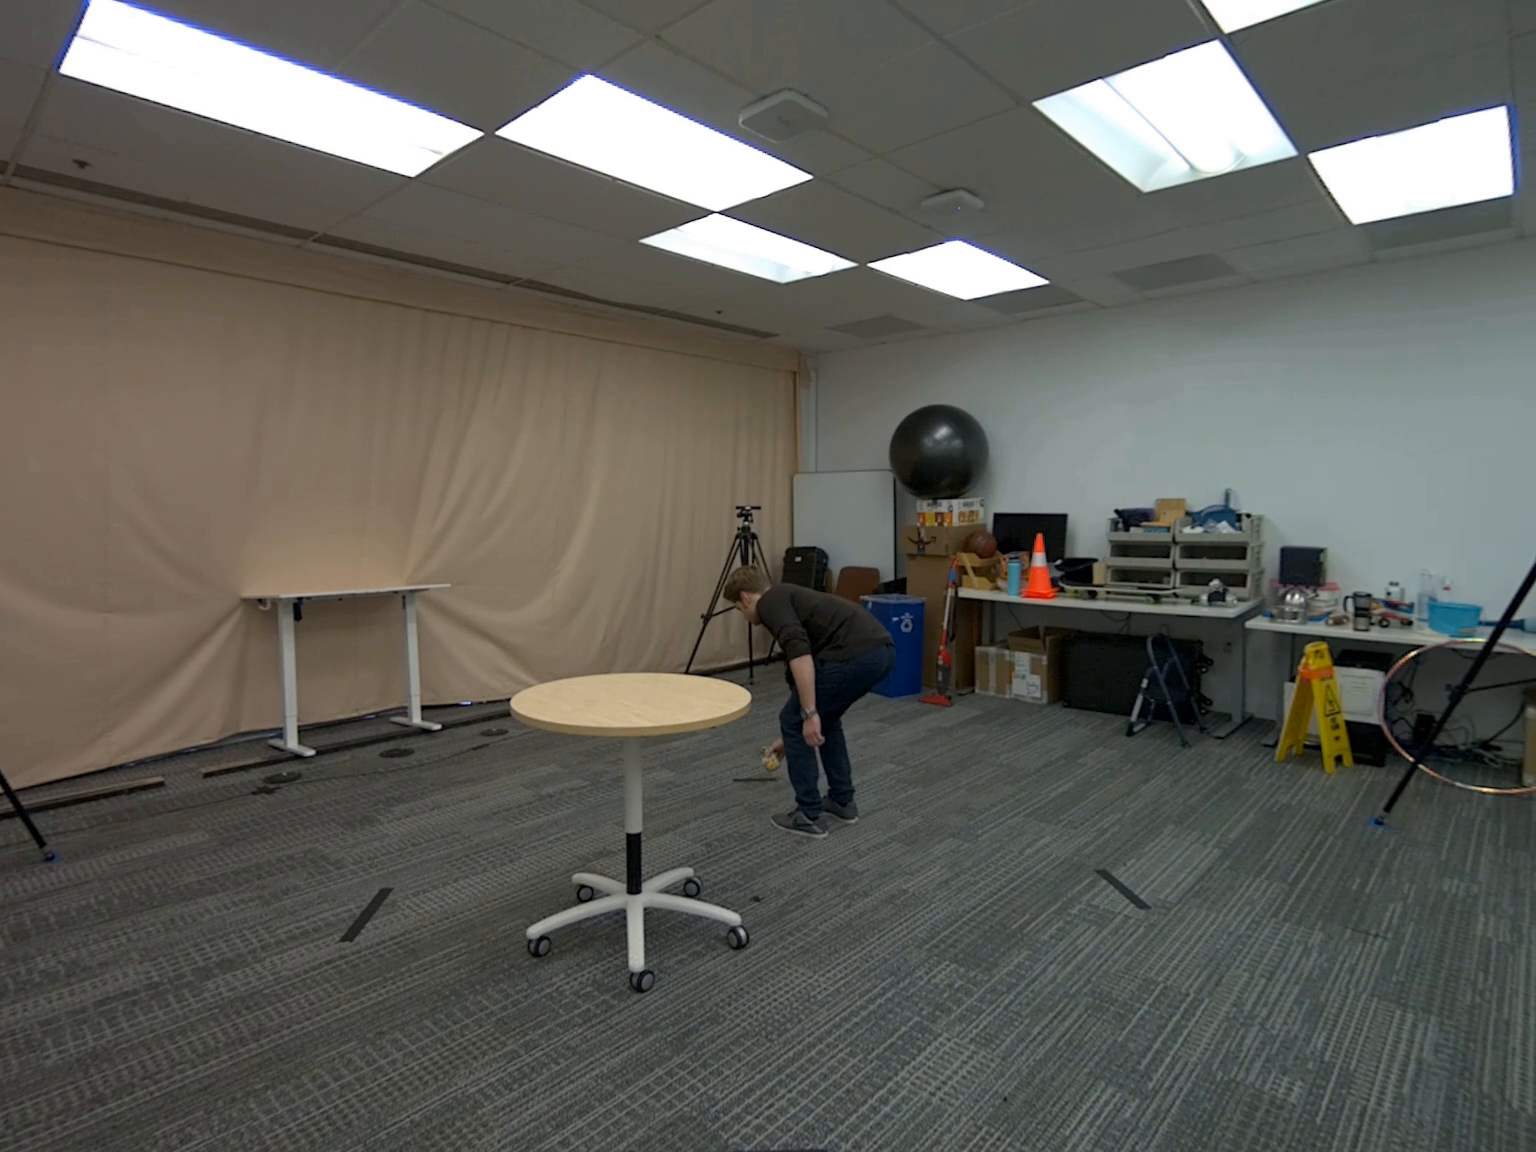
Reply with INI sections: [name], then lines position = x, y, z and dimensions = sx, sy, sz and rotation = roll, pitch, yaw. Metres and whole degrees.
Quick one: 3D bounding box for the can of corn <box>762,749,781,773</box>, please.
[can of corn]
position = 0.003, 0.866, 4.011
dimensions = 0.073, 0.113, 0.073
rotation = -16, -24, -9
